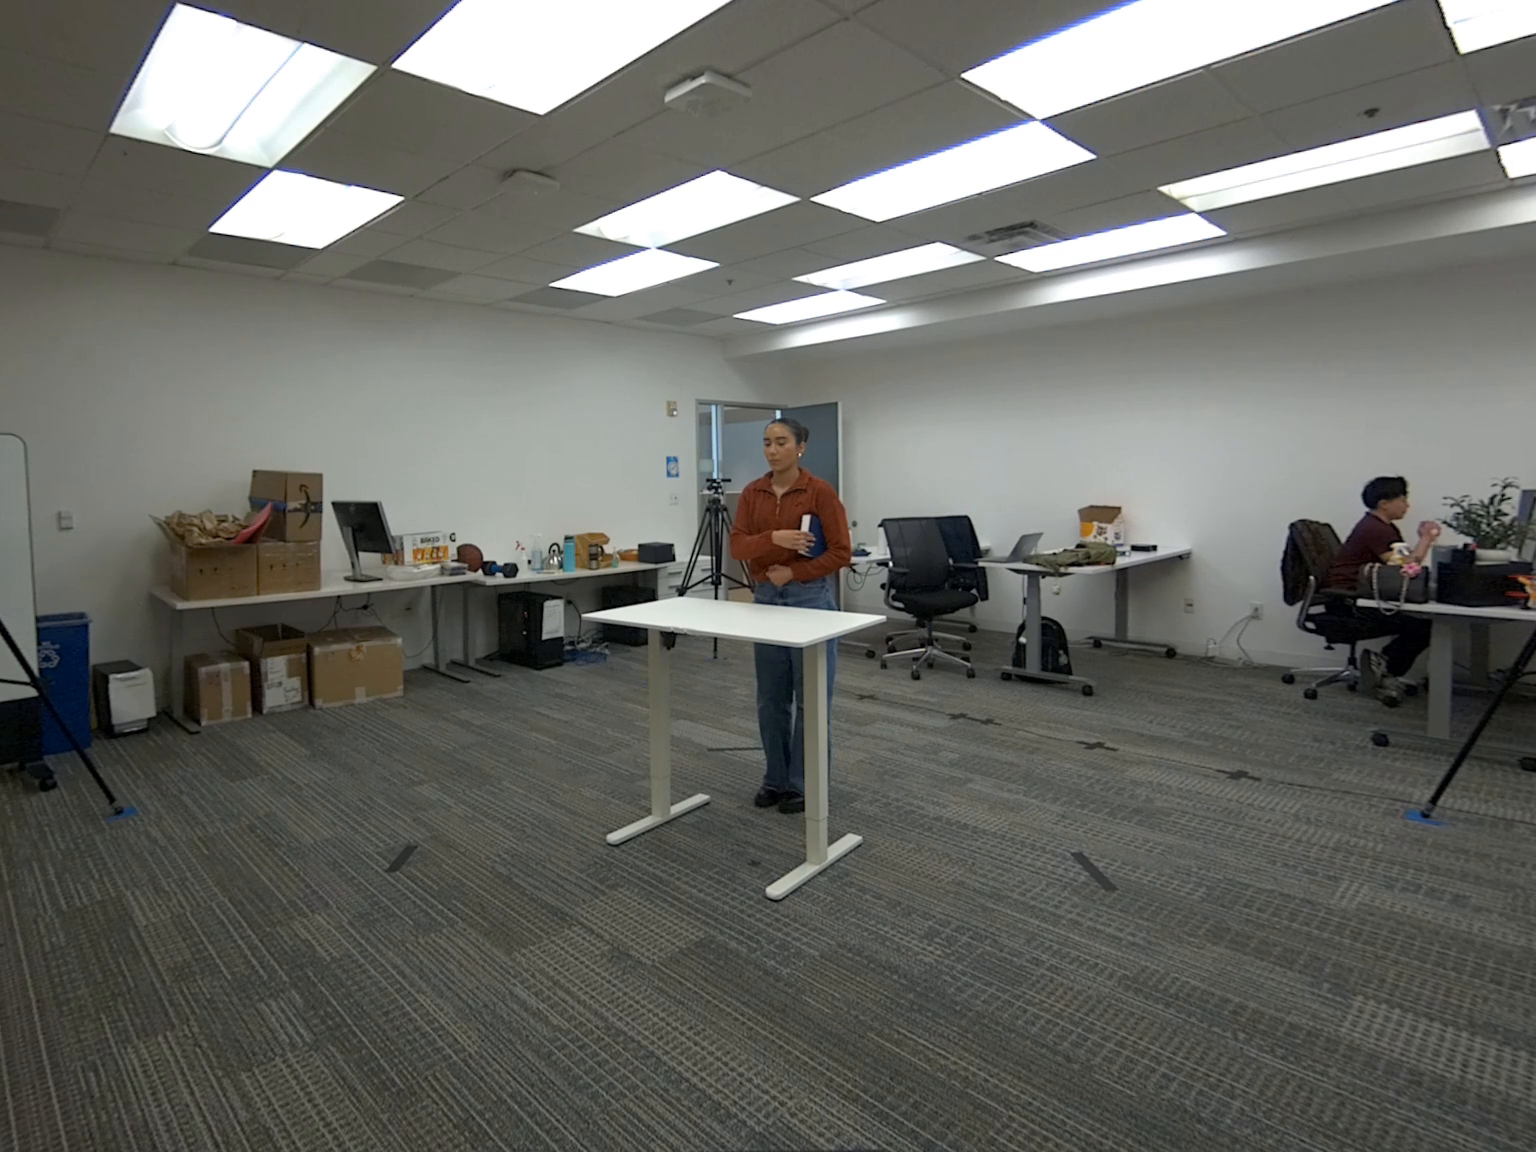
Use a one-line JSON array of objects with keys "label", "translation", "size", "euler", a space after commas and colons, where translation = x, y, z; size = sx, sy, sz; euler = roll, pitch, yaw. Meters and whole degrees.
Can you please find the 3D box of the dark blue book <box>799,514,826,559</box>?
[{"label": "dark blue book", "translation": [0.207, -0.148, 3.548], "size": [0.046, 0.164, 0.236], "euler": [3, -9, 35]}]
